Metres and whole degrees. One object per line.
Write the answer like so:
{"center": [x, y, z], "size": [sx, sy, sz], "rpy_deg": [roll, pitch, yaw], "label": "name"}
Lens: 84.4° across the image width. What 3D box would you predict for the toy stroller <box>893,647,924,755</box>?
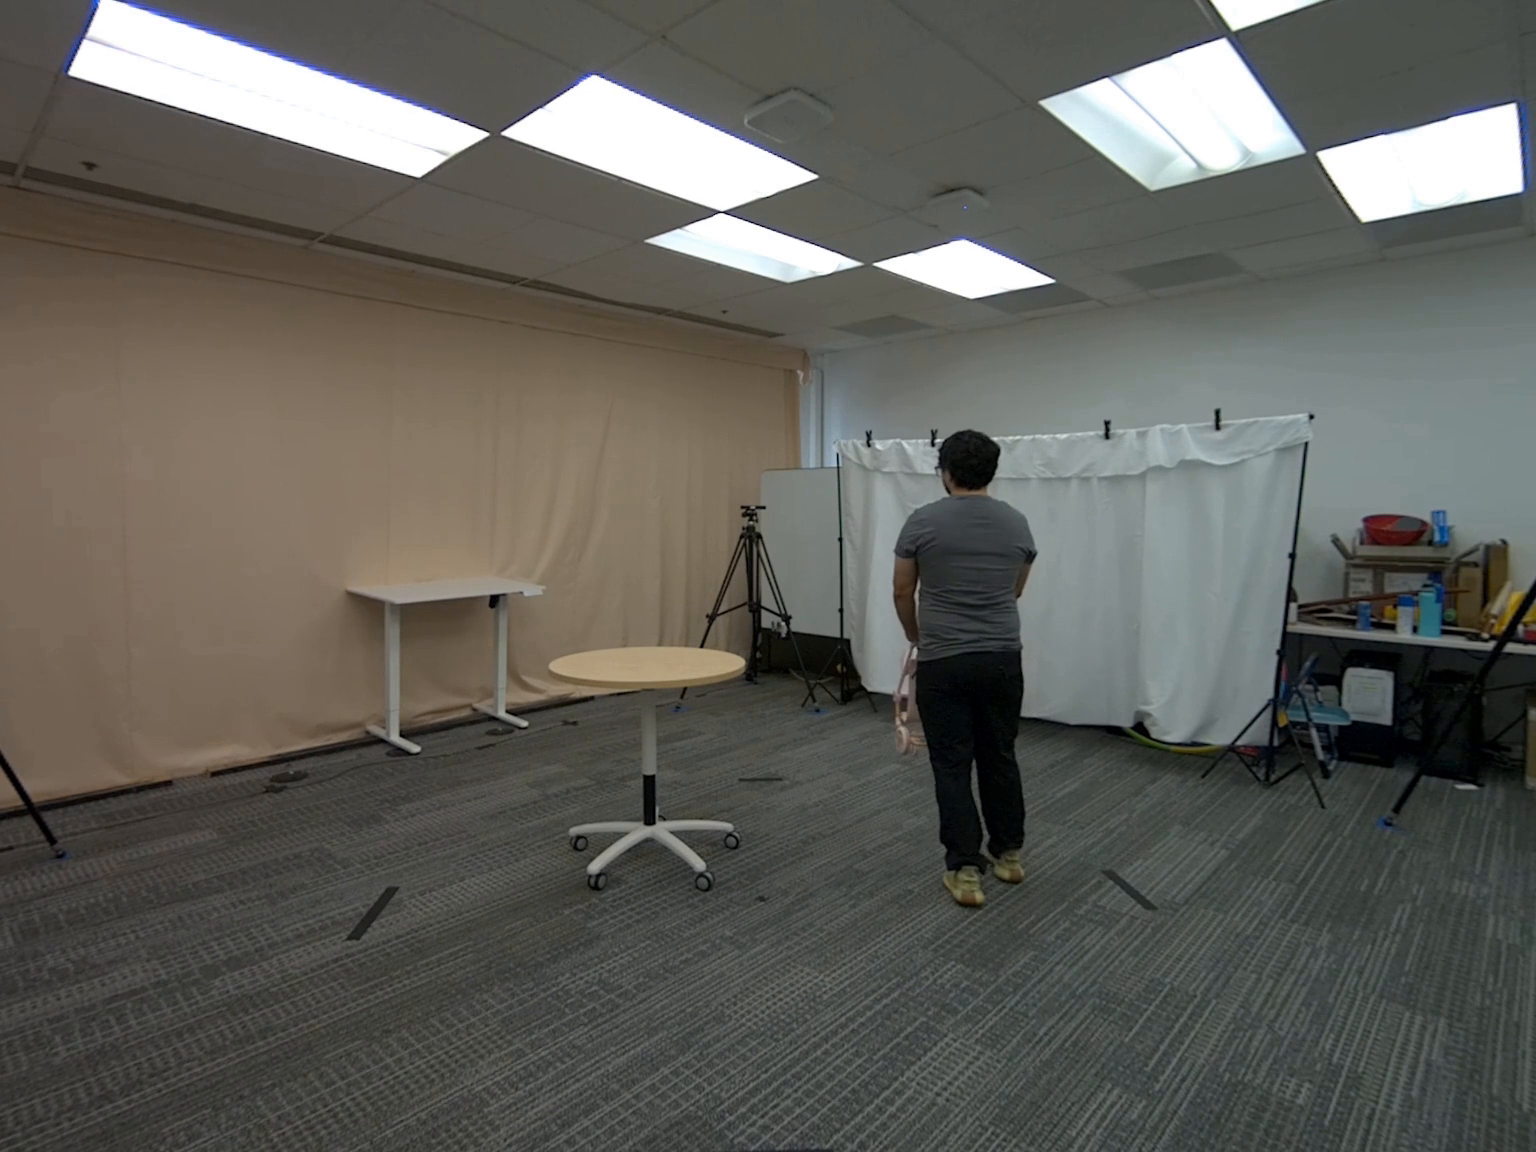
{"center": [0.657, 0.505, 3.473], "size": [0.281, 0.535, 0.342], "rpy_deg": [2, -1, -4], "label": "toy stroller"}
